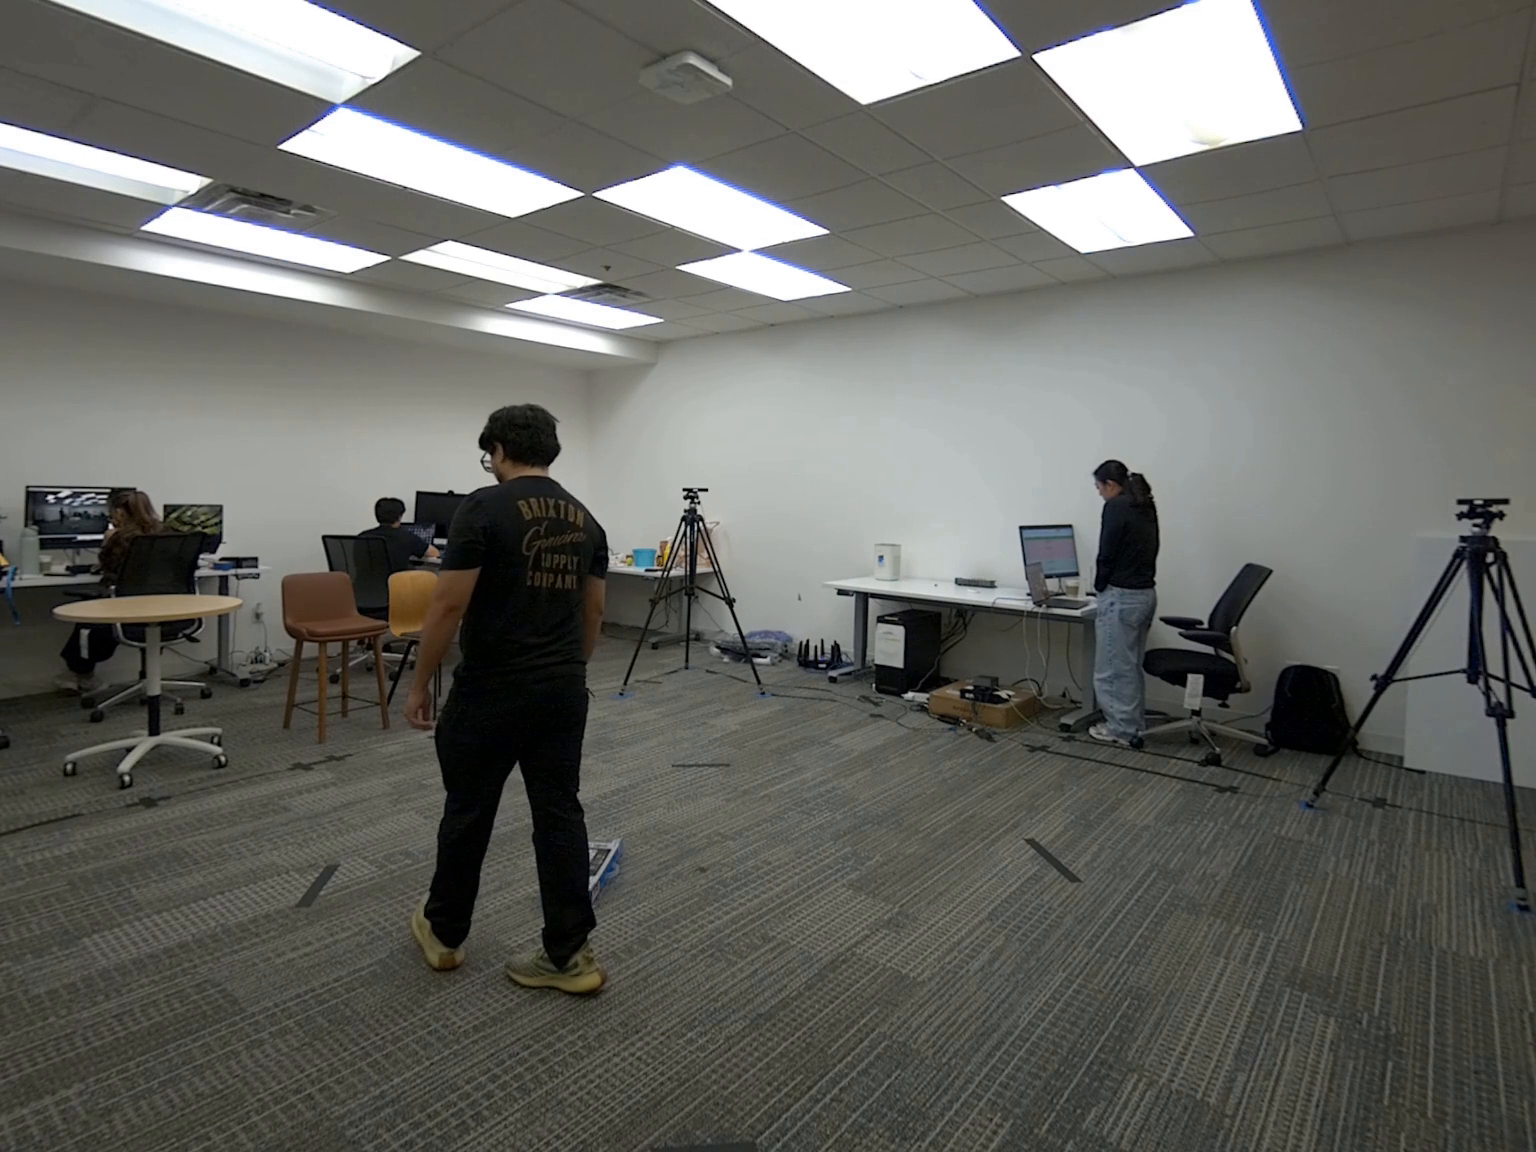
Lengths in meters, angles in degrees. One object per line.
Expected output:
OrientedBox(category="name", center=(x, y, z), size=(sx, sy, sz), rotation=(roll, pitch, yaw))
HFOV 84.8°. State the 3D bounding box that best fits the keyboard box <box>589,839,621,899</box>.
OrientedBox(category="keyboard box", center=(-0.660, 1.041, 3.027), size=(0.177, 0.059, 0.435), rotation=(0, 5, 5))
